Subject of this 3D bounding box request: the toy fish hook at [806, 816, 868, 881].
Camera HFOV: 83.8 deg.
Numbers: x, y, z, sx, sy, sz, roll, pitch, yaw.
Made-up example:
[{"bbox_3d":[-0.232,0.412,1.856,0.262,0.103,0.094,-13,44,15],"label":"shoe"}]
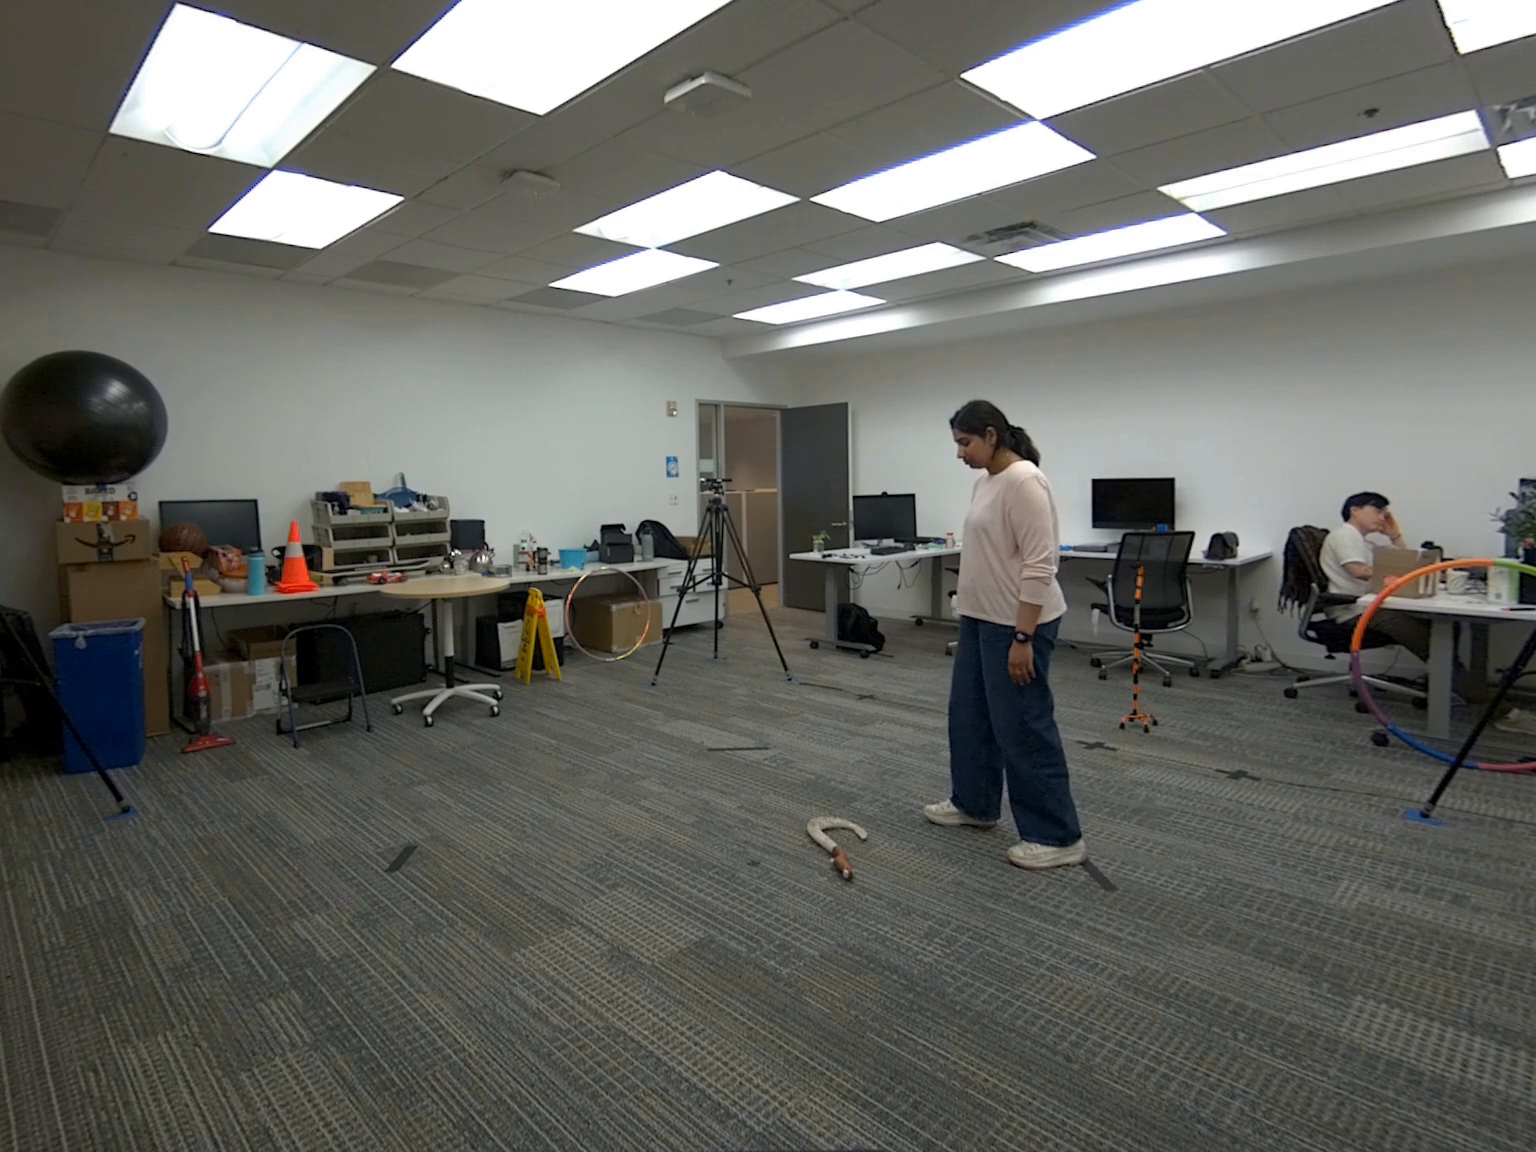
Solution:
[{"bbox_3d":[0.291,1.005,3.195,0.223,0.048,0.513,-3,7,-9],"label":"toy fish hook"}]
